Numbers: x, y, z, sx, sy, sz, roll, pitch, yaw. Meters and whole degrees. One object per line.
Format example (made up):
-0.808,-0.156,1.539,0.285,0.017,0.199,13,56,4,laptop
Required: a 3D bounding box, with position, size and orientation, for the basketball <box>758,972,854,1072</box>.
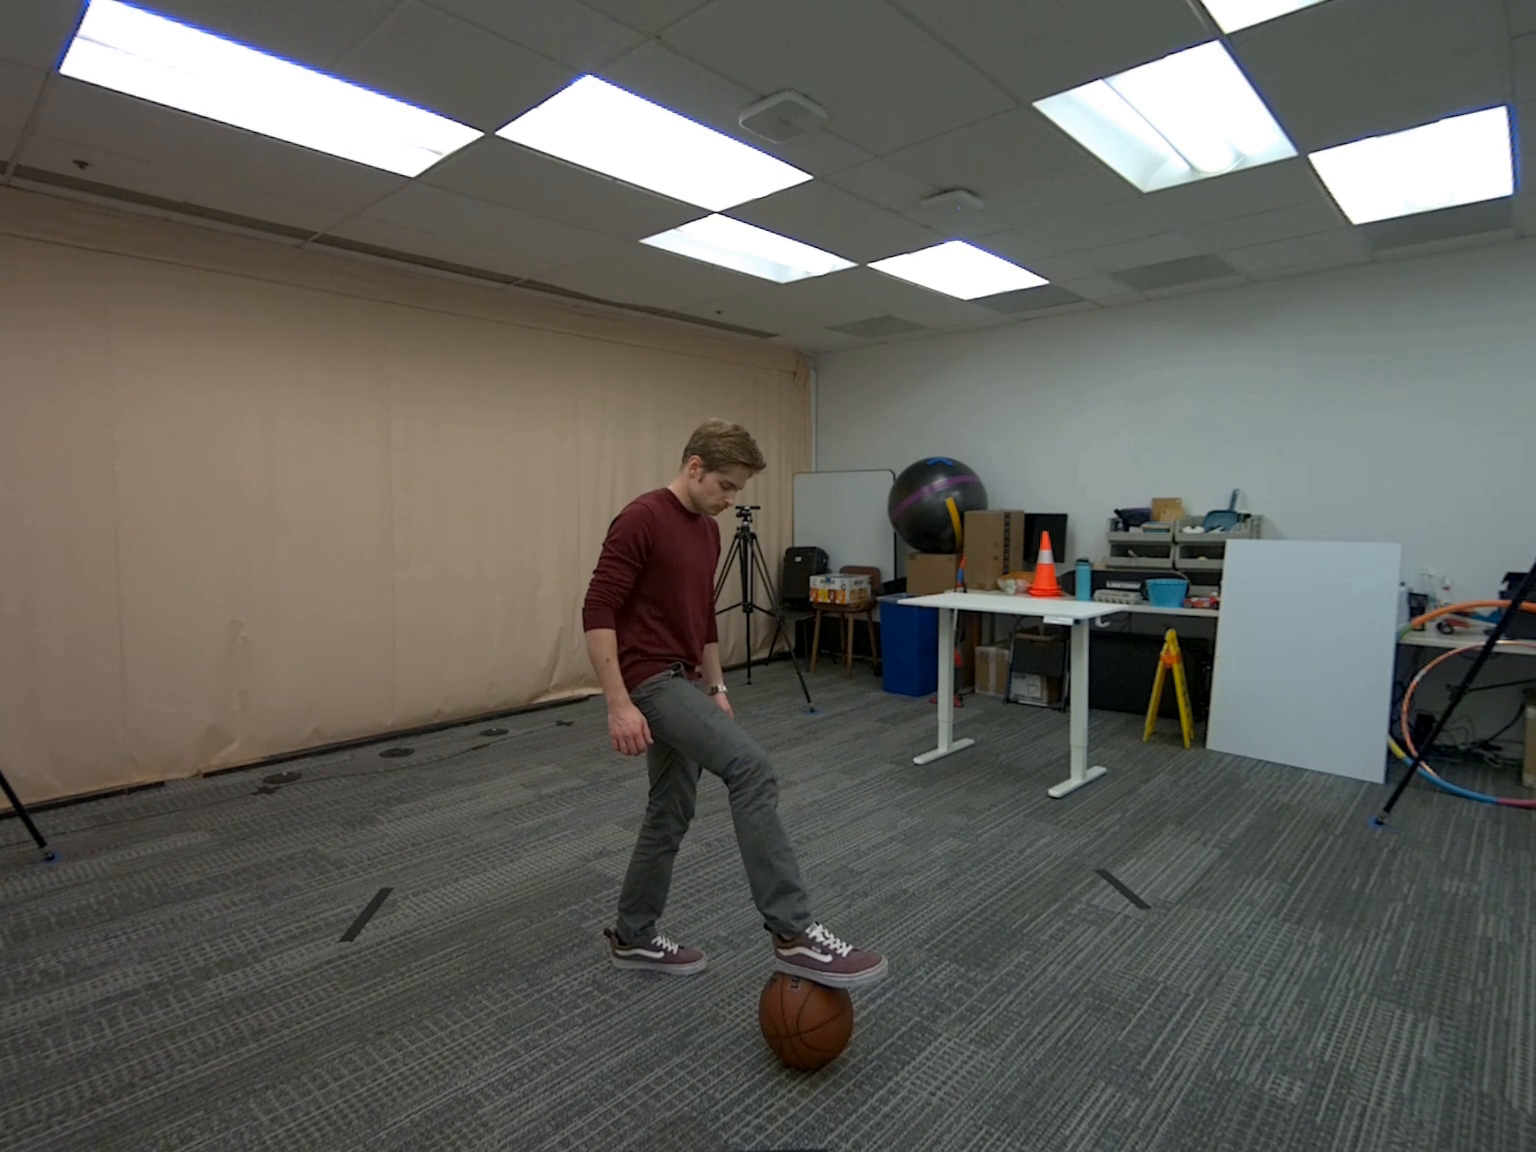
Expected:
0.100,1.104,2.109,0.236,0.235,0.237,0,4,-2,basketball
